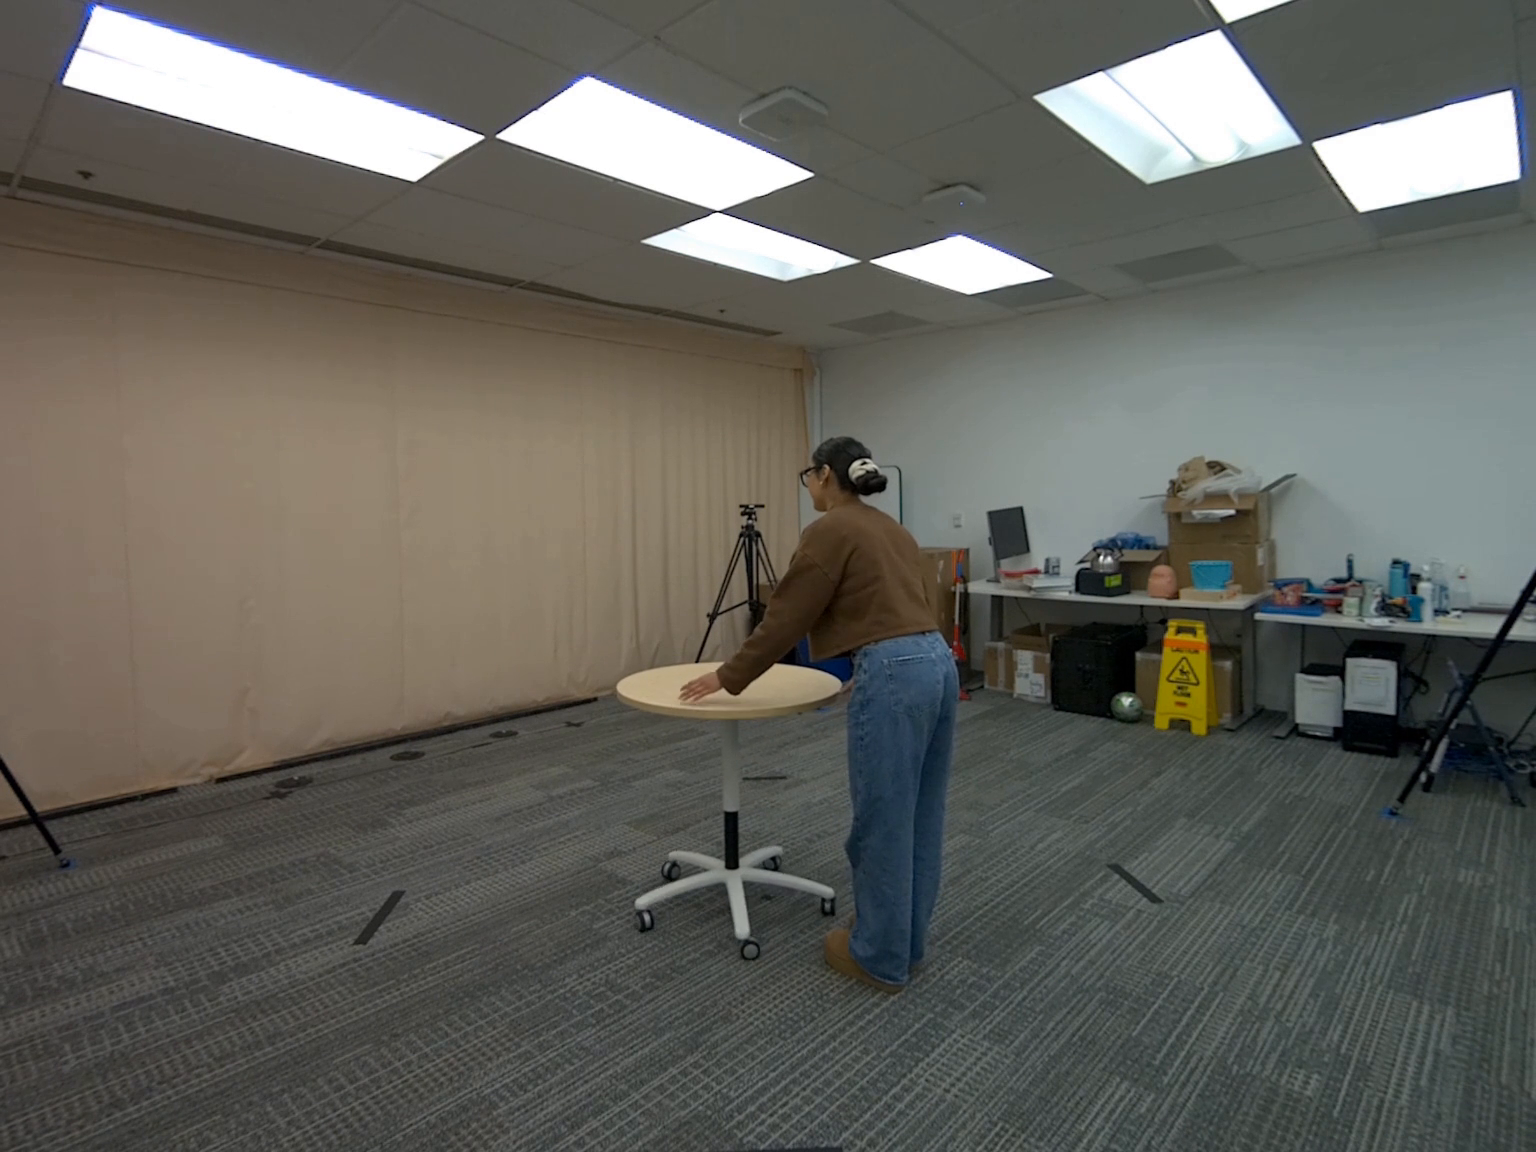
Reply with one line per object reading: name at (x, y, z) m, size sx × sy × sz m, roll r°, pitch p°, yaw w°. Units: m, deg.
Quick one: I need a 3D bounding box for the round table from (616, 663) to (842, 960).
round table at (-0.128, 0.761, 2.896) m, size 0.763 × 0.792 × 0.767 m, roll -1°, pitch 4°, yaw -2°
